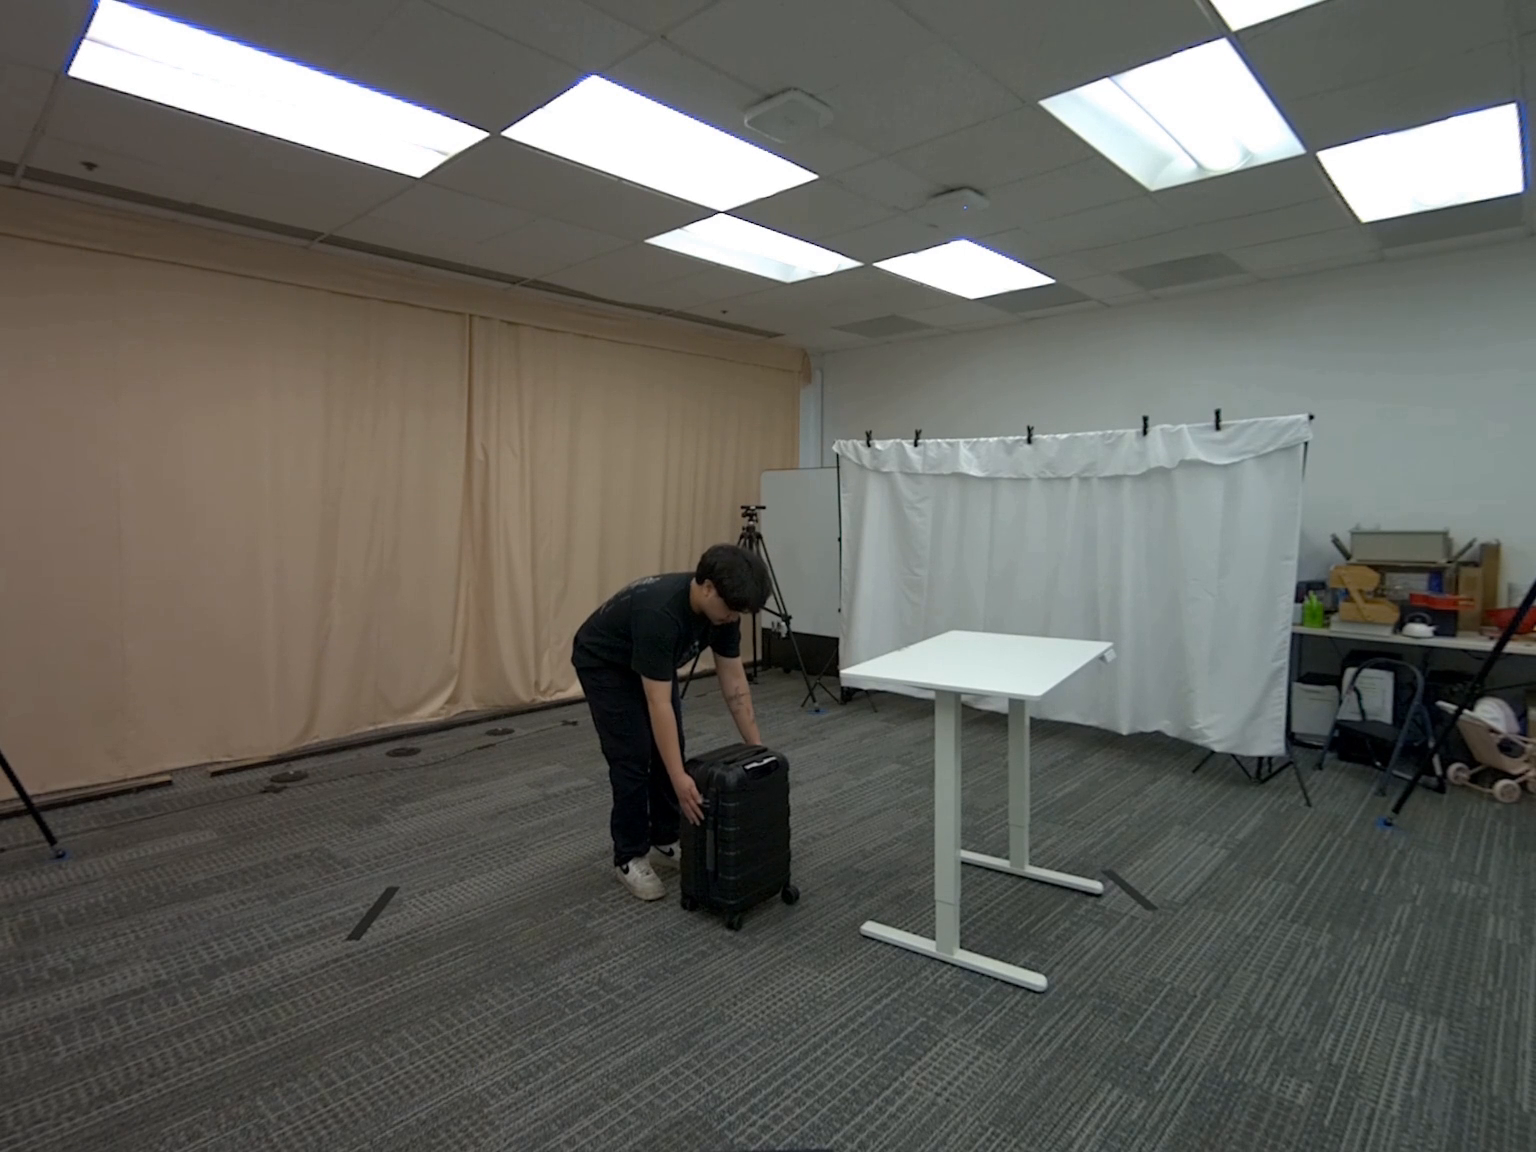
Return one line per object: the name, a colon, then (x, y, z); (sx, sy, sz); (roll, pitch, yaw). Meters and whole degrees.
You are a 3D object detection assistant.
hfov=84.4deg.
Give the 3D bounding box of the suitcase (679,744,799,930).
suitcase: (-0.106, 0.880, 2.914); (0.256, 0.548, 0.364); (3, 5, 40)
